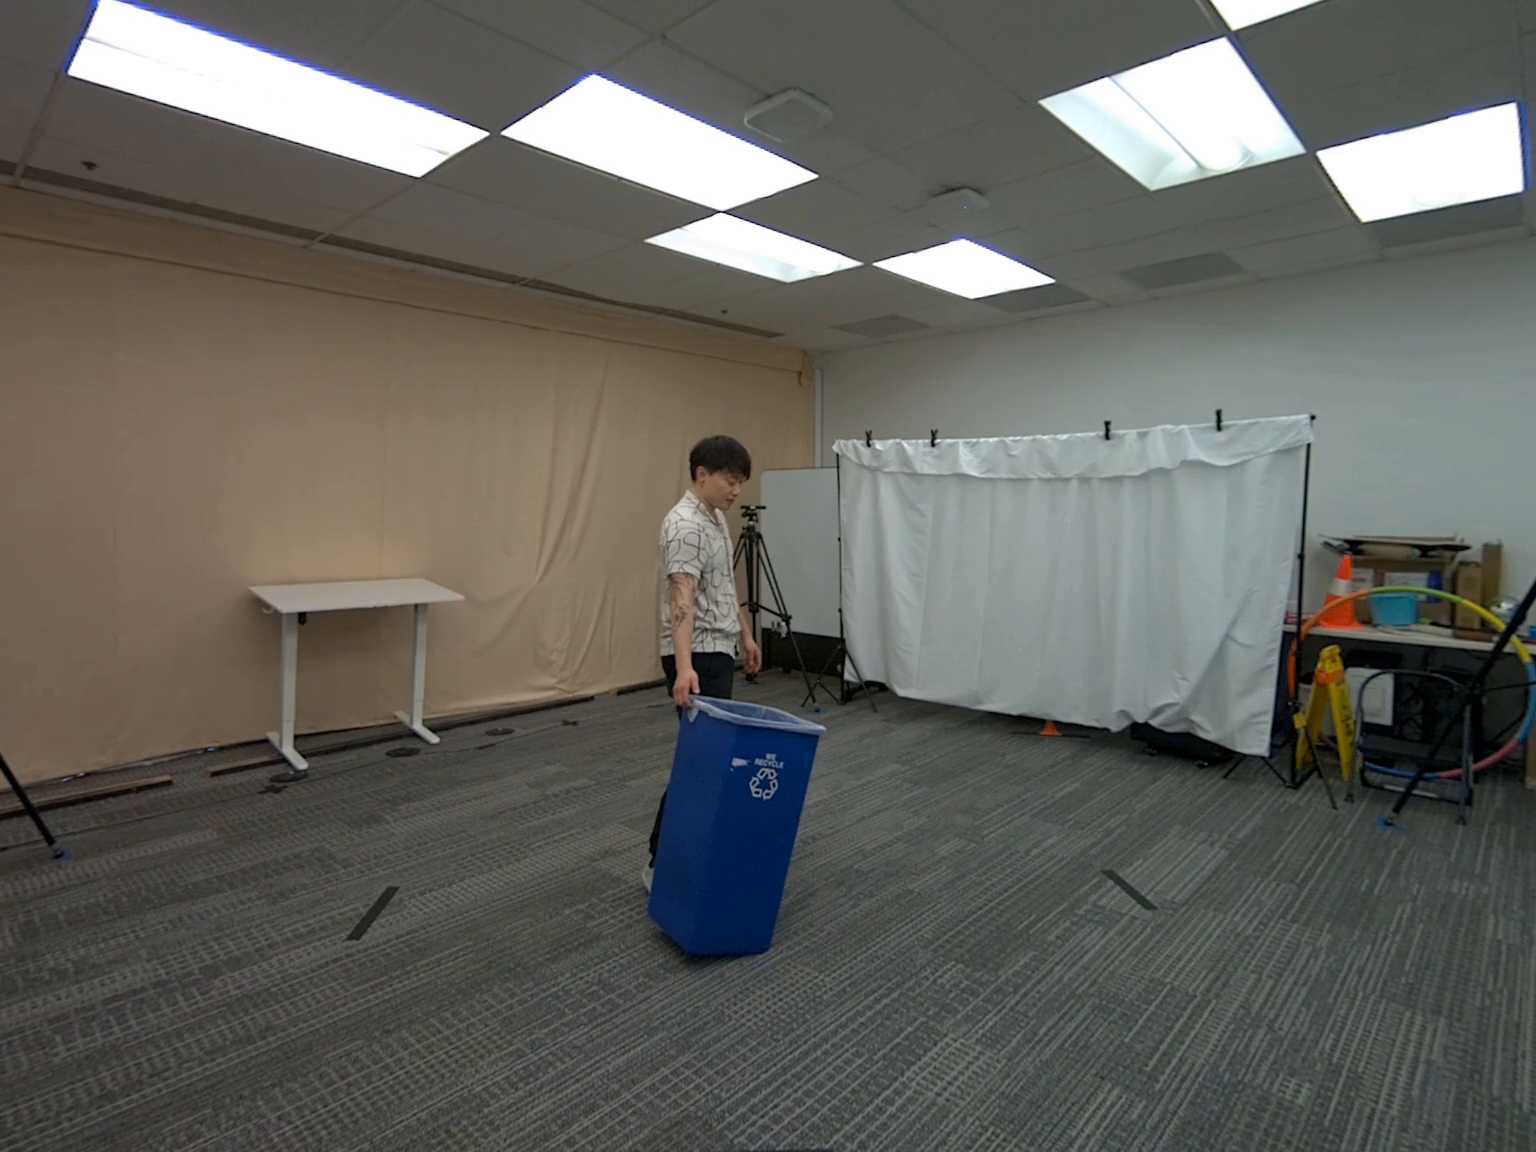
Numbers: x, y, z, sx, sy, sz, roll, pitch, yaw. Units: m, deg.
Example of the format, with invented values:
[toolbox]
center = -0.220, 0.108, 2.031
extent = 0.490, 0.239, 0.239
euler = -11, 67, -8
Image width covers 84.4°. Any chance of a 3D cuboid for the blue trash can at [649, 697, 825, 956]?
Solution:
[blue trash can]
center = -0.114, 0.789, 2.715
extent = 0.362, 0.714, 0.390
euler = 13, -4, -33
